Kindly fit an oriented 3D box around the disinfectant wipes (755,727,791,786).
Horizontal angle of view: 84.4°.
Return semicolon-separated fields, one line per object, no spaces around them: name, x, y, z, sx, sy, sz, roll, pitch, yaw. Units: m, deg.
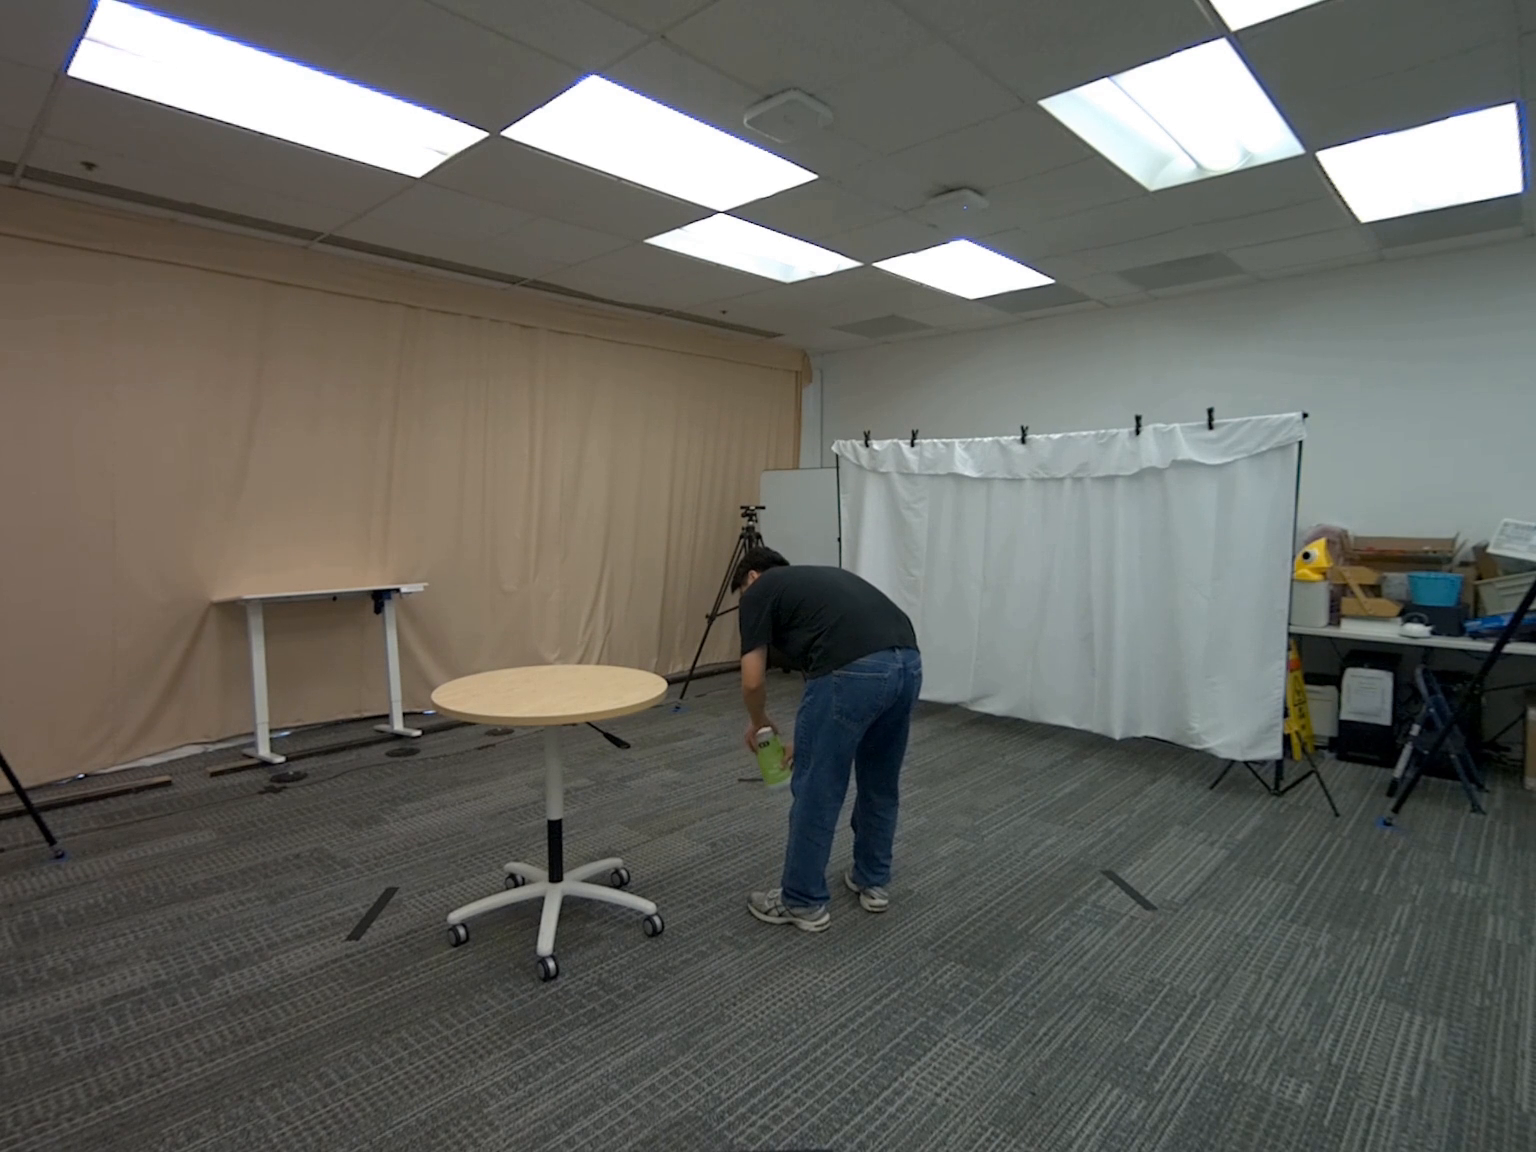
disinfectant wipes;0.013;0.673;3.133;0.118;0.216;0.118;-17;5;0
